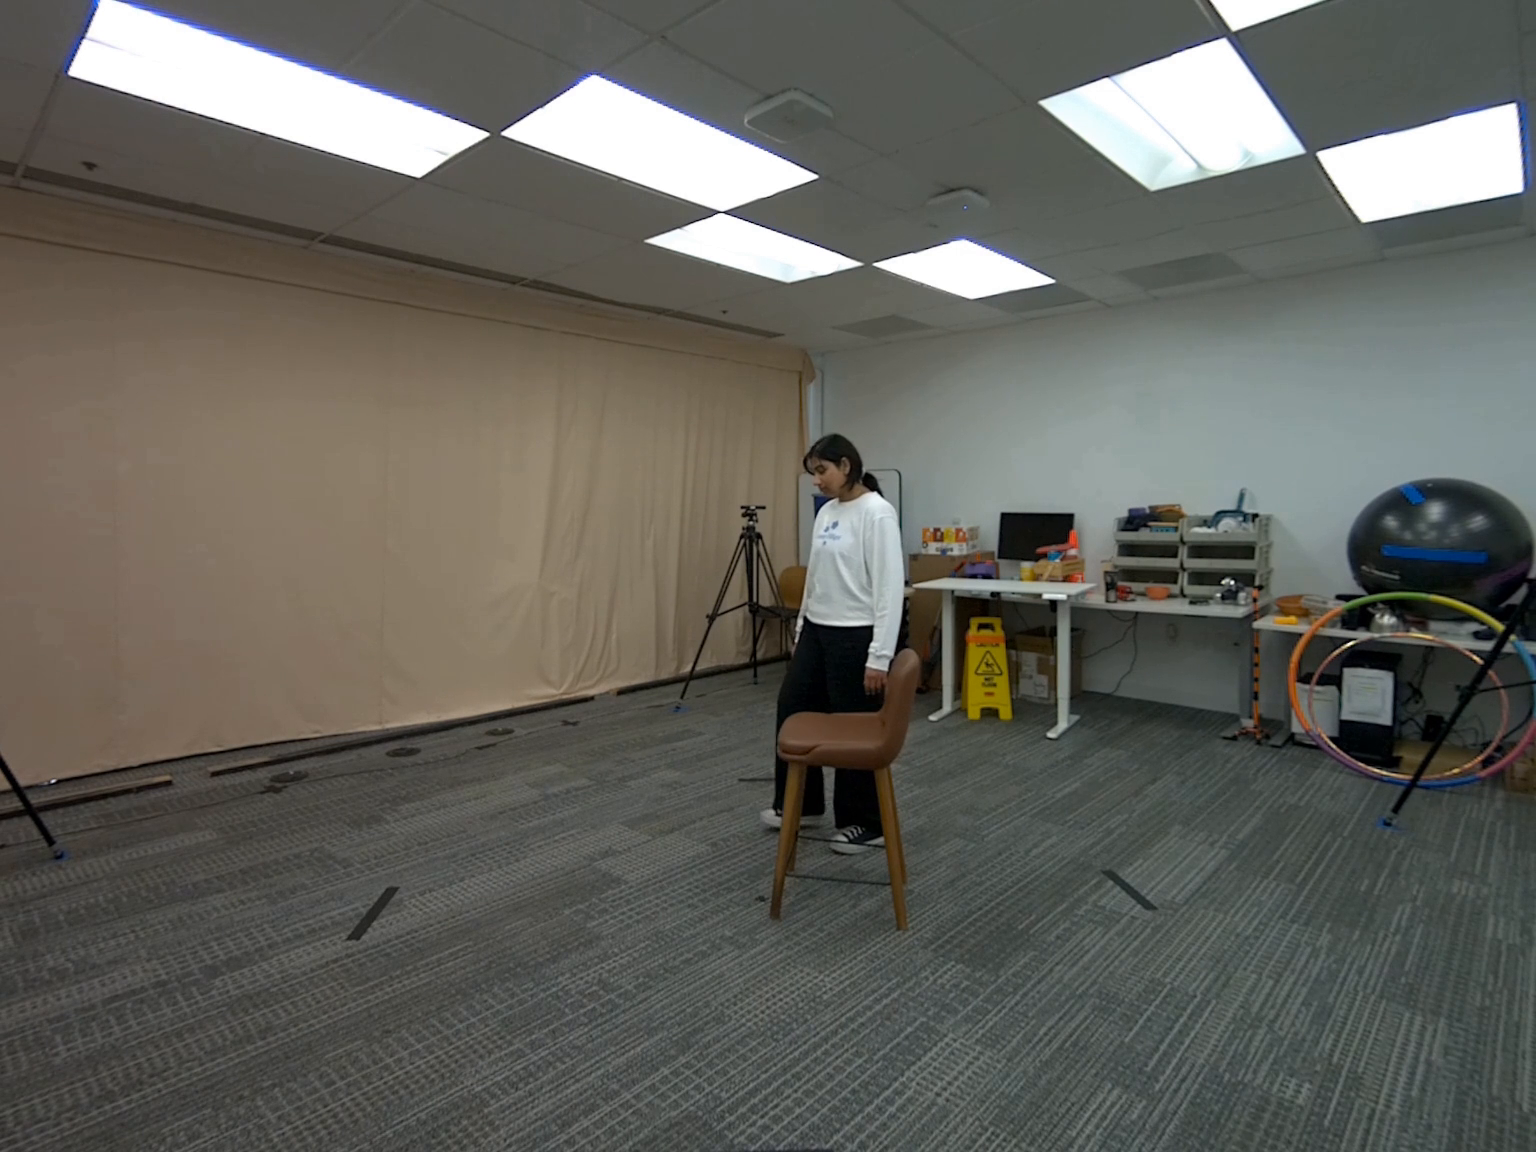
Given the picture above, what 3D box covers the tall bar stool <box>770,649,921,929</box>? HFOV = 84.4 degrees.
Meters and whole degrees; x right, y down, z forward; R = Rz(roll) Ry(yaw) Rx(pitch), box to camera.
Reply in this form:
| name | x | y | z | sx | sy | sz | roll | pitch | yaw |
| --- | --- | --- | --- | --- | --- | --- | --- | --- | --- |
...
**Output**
| name | x | y | z | sx | sy | sz | roll | pitch | yaw |
| --- | --- | --- | --- | --- | --- | --- | --- | --- | --- |
| tall bar stool | 0.269 | 0.709 | 2.964 | 0.474 | 0.888 | 0.451 | 2 | 4 | 12 |
